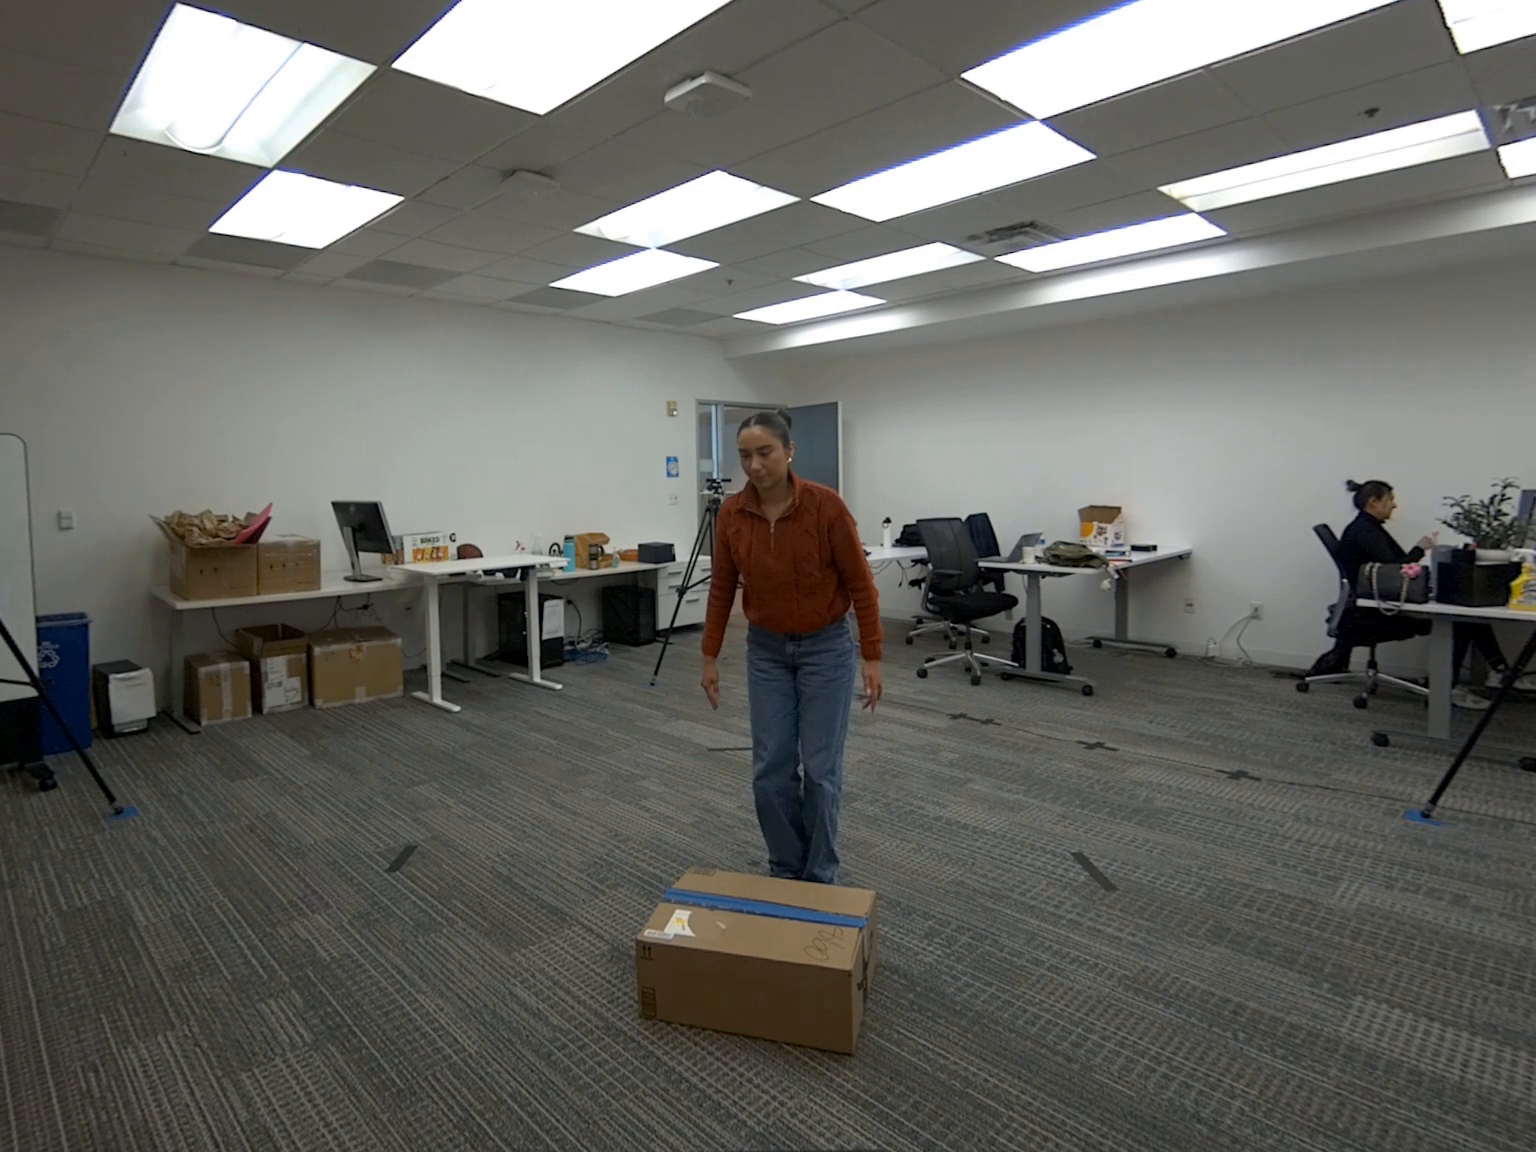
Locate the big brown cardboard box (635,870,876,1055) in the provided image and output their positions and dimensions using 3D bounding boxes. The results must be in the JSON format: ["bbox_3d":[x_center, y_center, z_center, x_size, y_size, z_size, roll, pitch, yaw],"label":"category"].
[{"bbox_3d":[-0.016,1.019,2.337,0.598,0.232,0.413,1,6,16],"label":"big brown cardboard box"}]
